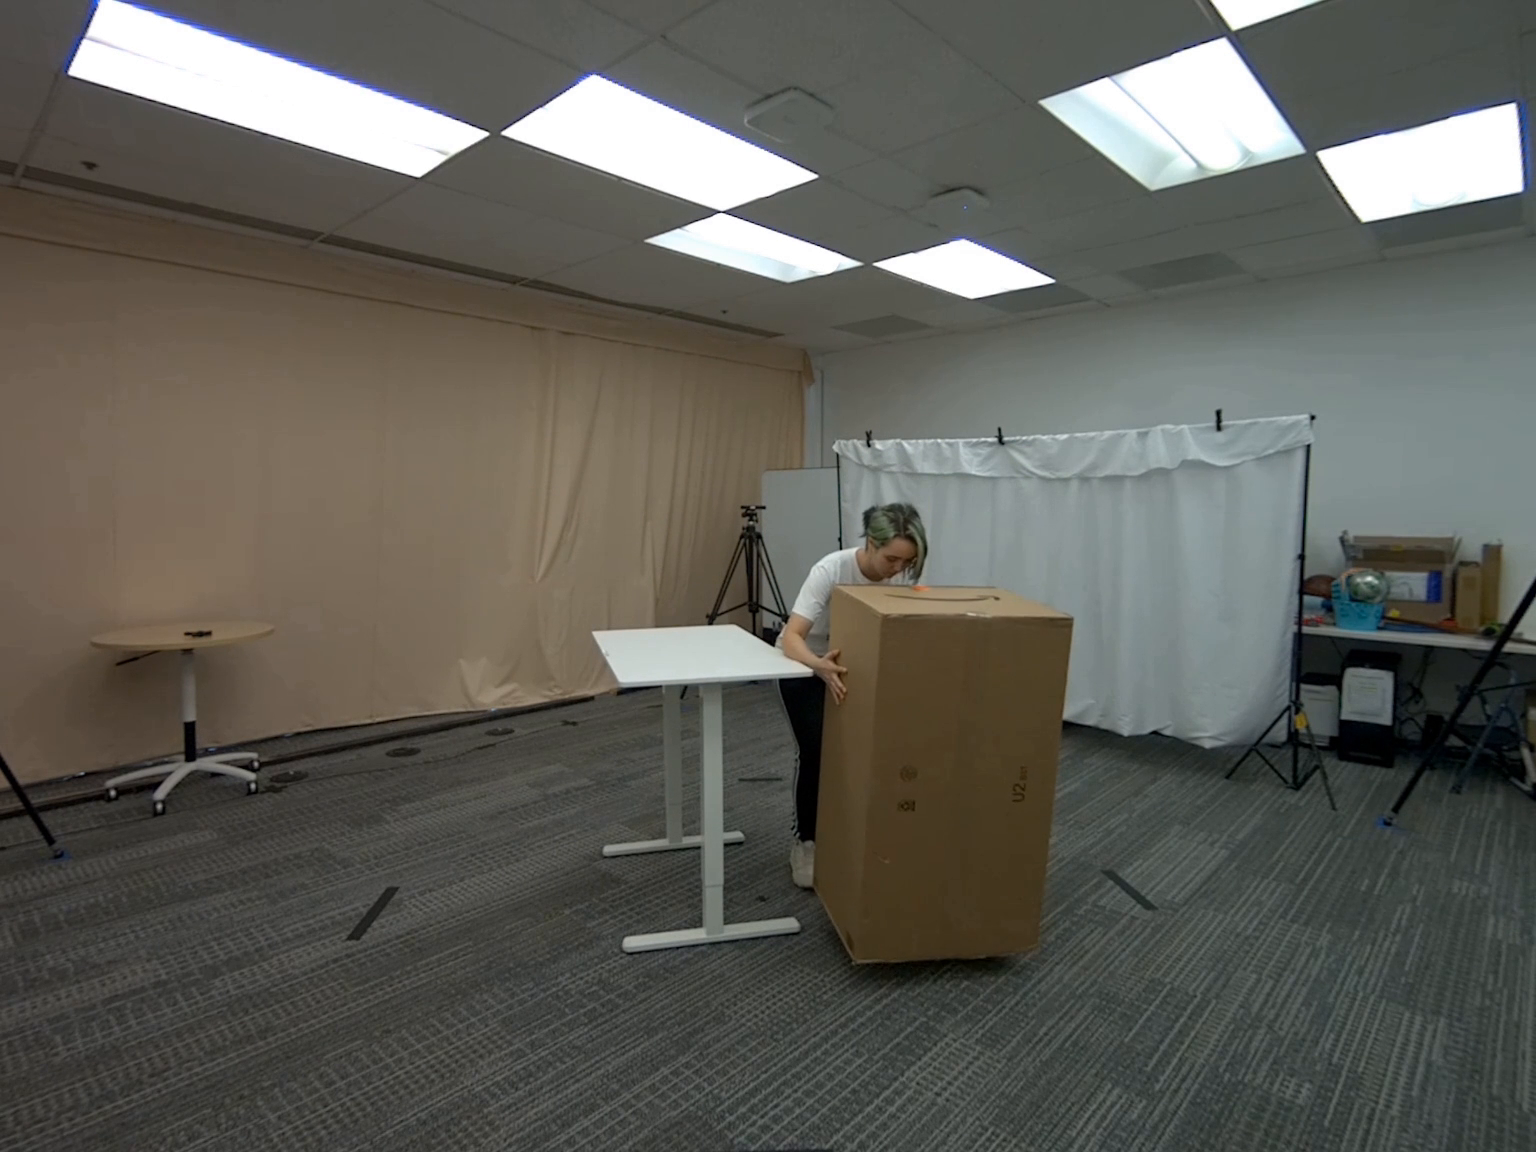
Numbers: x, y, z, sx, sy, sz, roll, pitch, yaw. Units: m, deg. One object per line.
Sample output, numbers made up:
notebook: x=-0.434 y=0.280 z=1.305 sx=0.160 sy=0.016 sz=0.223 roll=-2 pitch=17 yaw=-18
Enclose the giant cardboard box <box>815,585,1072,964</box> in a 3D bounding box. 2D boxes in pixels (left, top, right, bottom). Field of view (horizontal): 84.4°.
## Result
giant cardboard box: x=0.501 y=0.577 z=2.583 sx=0.577 sy=1.022 sz=0.454 roll=2 pitch=9 yaw=-12
